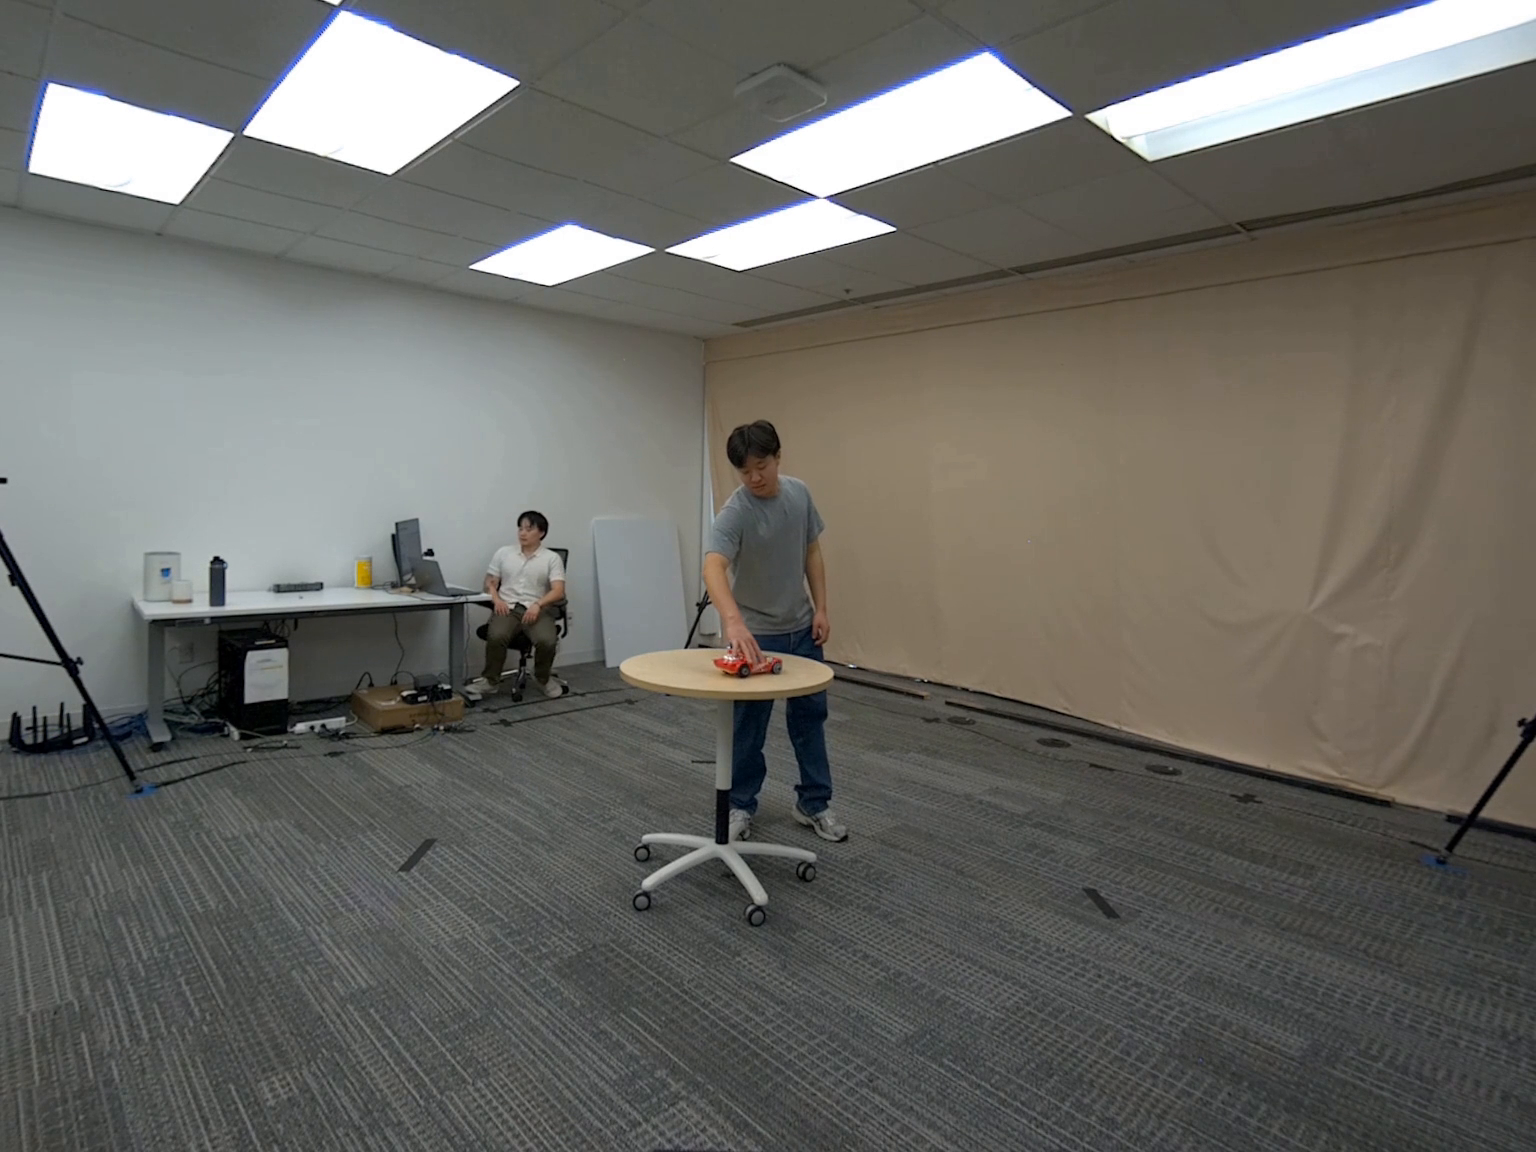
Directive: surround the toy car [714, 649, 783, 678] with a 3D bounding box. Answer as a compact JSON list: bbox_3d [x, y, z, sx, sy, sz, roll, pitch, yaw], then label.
[{"bbox_3d":[-0.091,0.311,2.922,0.248,0.083,0.133,12,-2,-37],"label":"toy car"}]
